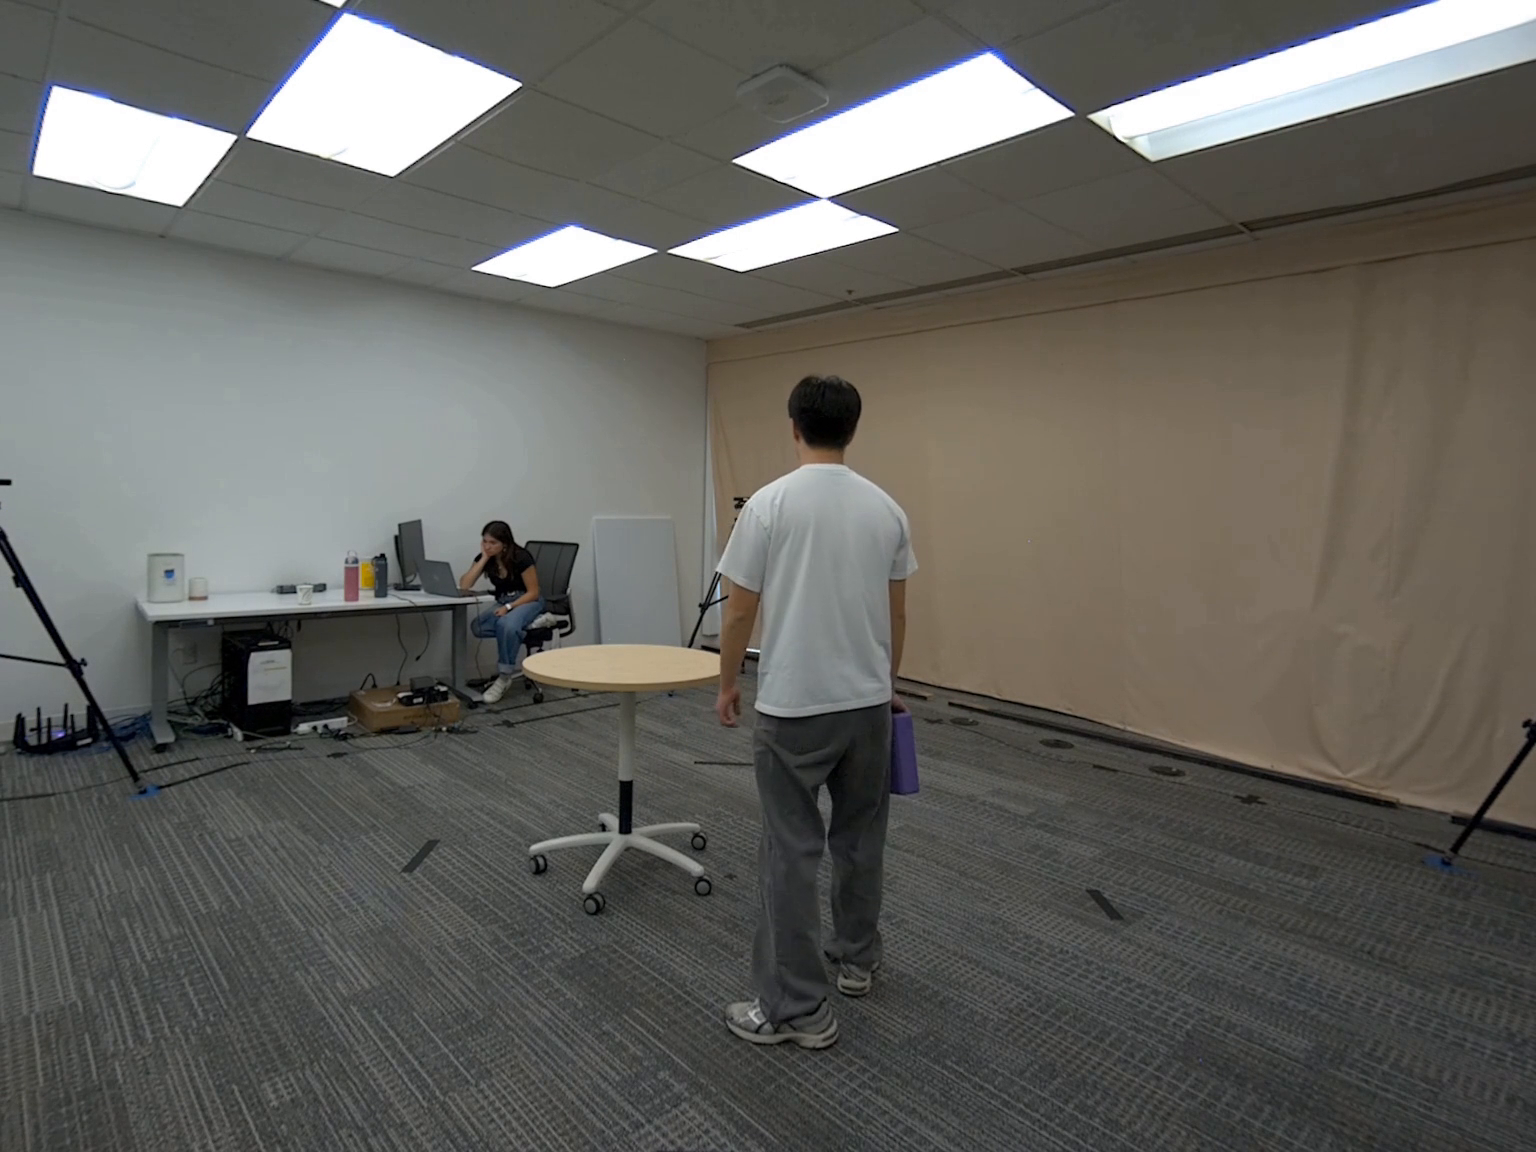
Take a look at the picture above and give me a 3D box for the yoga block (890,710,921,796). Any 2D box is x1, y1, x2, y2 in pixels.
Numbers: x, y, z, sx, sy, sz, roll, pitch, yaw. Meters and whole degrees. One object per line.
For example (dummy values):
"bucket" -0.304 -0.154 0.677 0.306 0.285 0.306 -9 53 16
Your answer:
"yoga block" 0.358 0.528 2.496 0.075 0.230 0.151 1 -8 -32
